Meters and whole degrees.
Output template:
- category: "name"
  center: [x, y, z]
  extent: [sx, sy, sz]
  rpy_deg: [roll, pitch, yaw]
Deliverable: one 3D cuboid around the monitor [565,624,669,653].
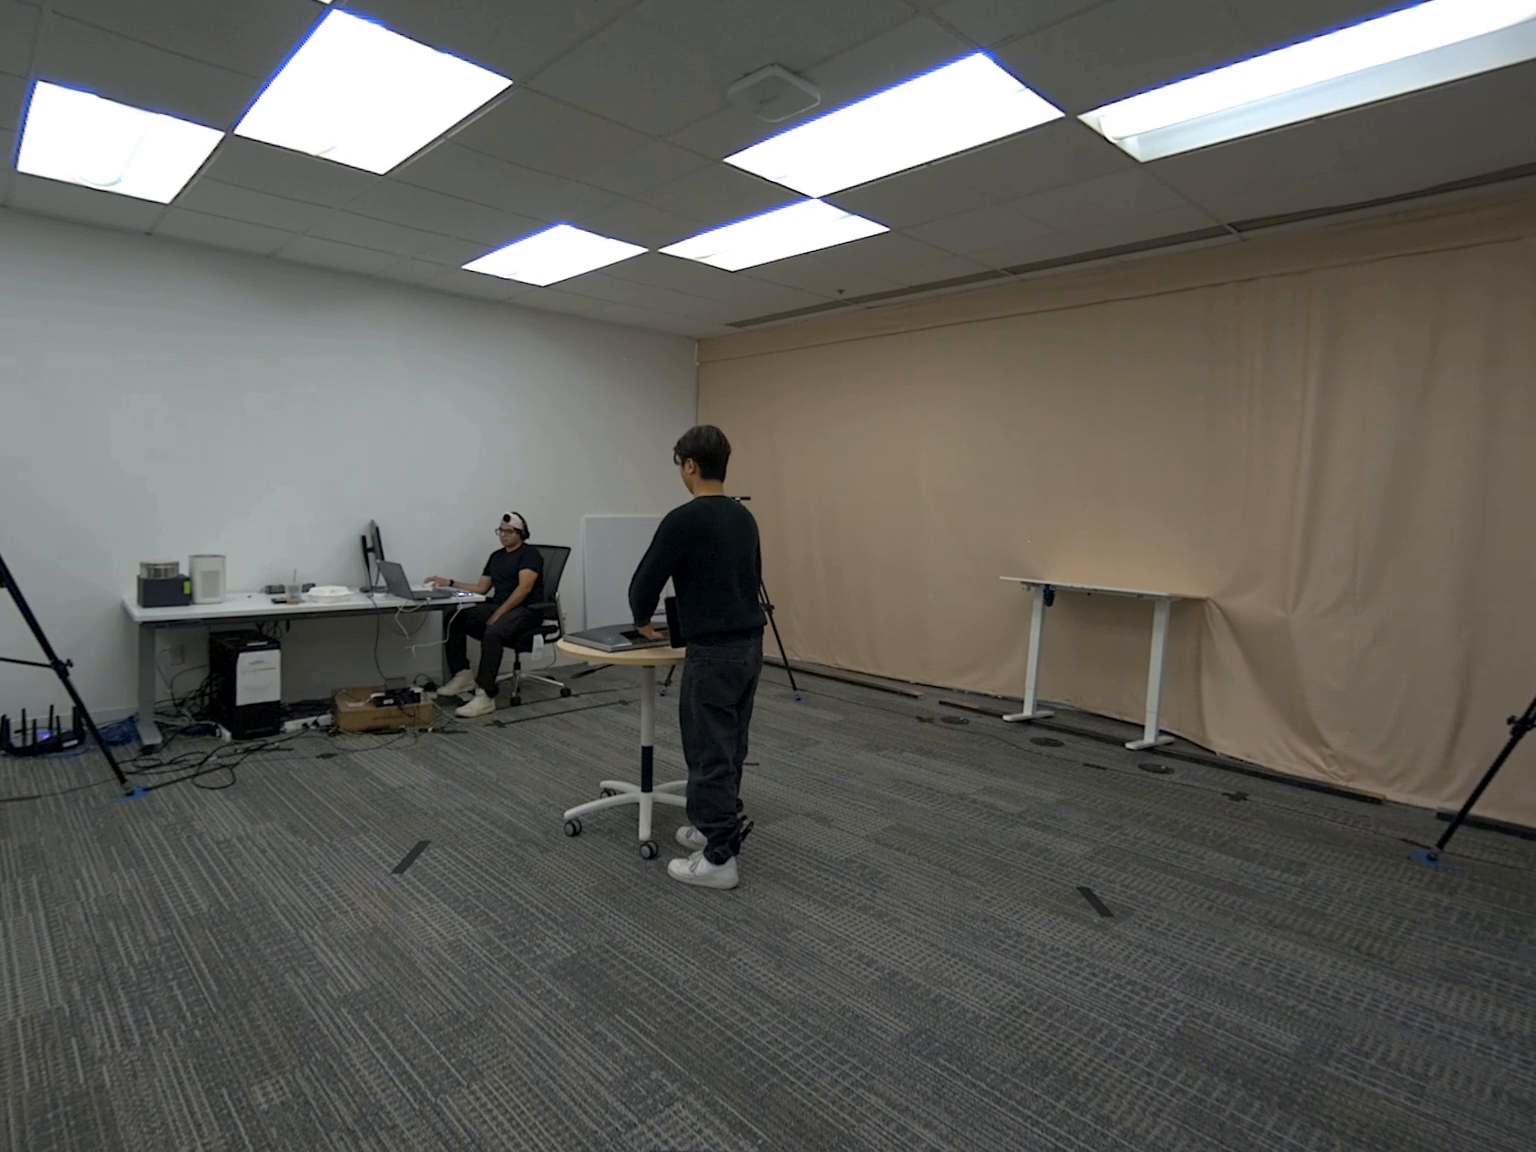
- category: "monitor"
  center: [-0.488, 0.210, 3.528]
  extent: [0.526, 0.188, 0.531]
  rpy_deg: [-2, -9, -42]
